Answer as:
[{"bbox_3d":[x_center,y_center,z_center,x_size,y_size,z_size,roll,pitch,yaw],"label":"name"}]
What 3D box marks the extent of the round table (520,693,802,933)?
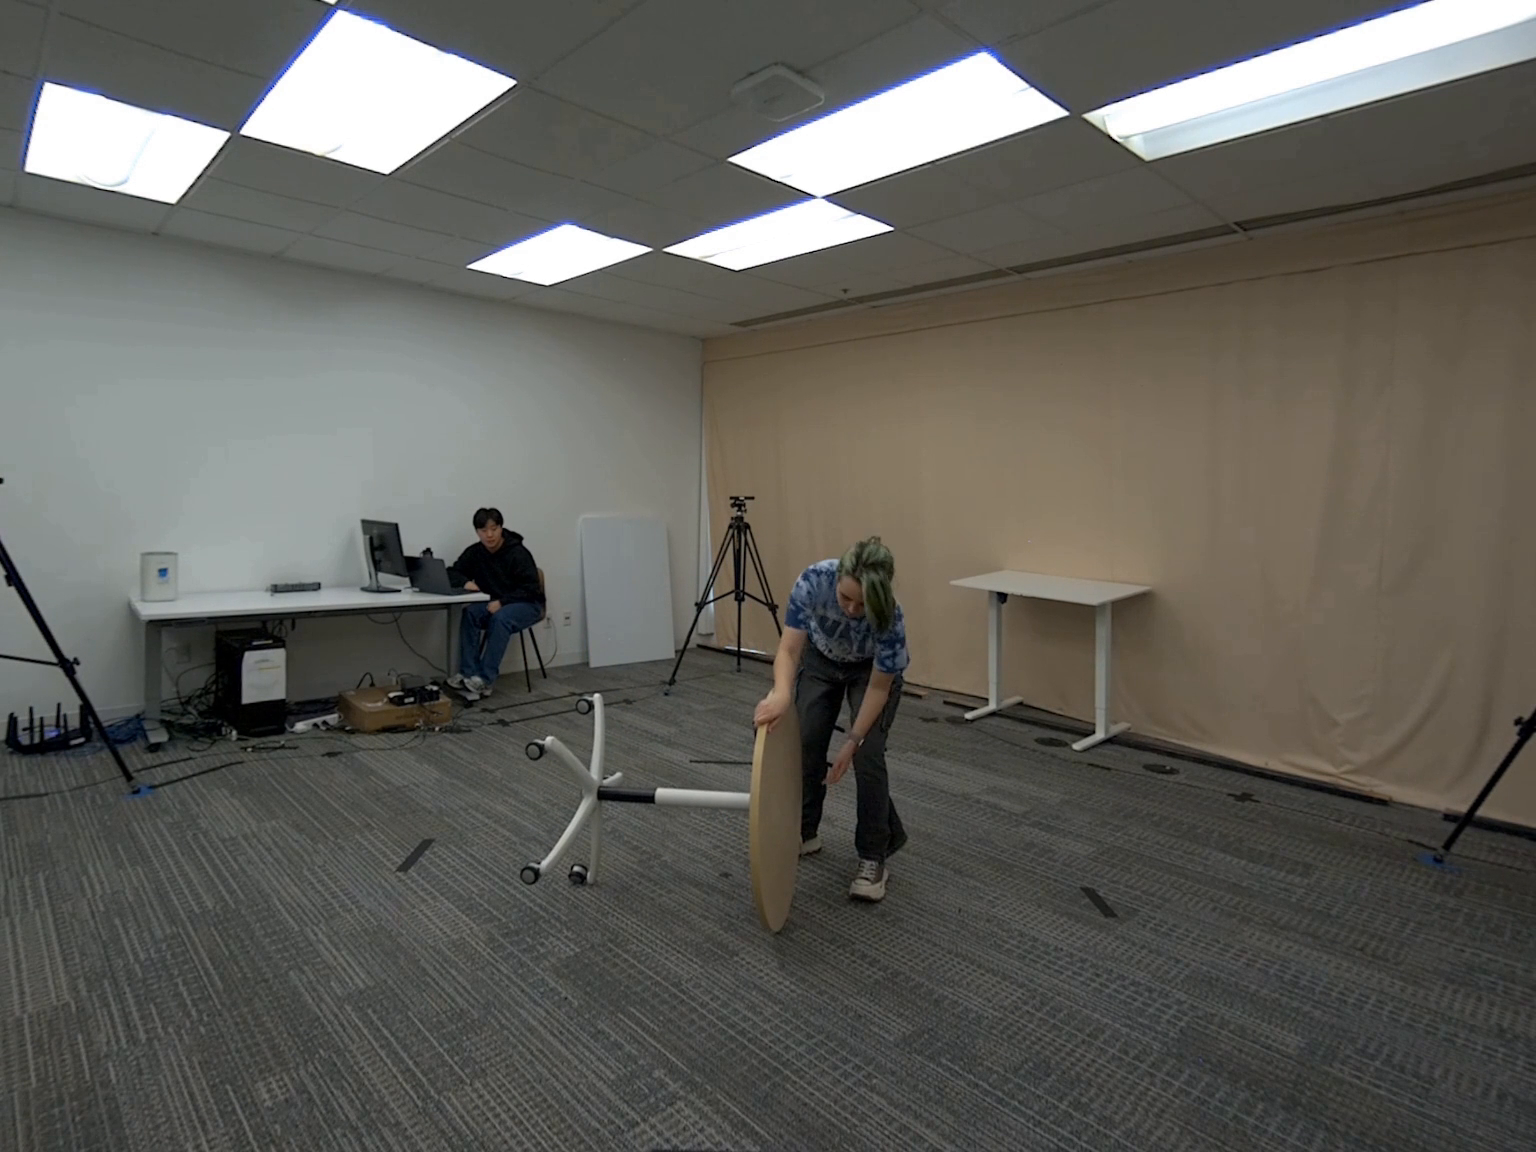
[{"bbox_3d":[-0.347,0.766,2.869,0.802,0.762,0.758,-1,4,13],"label":"round table"}]
